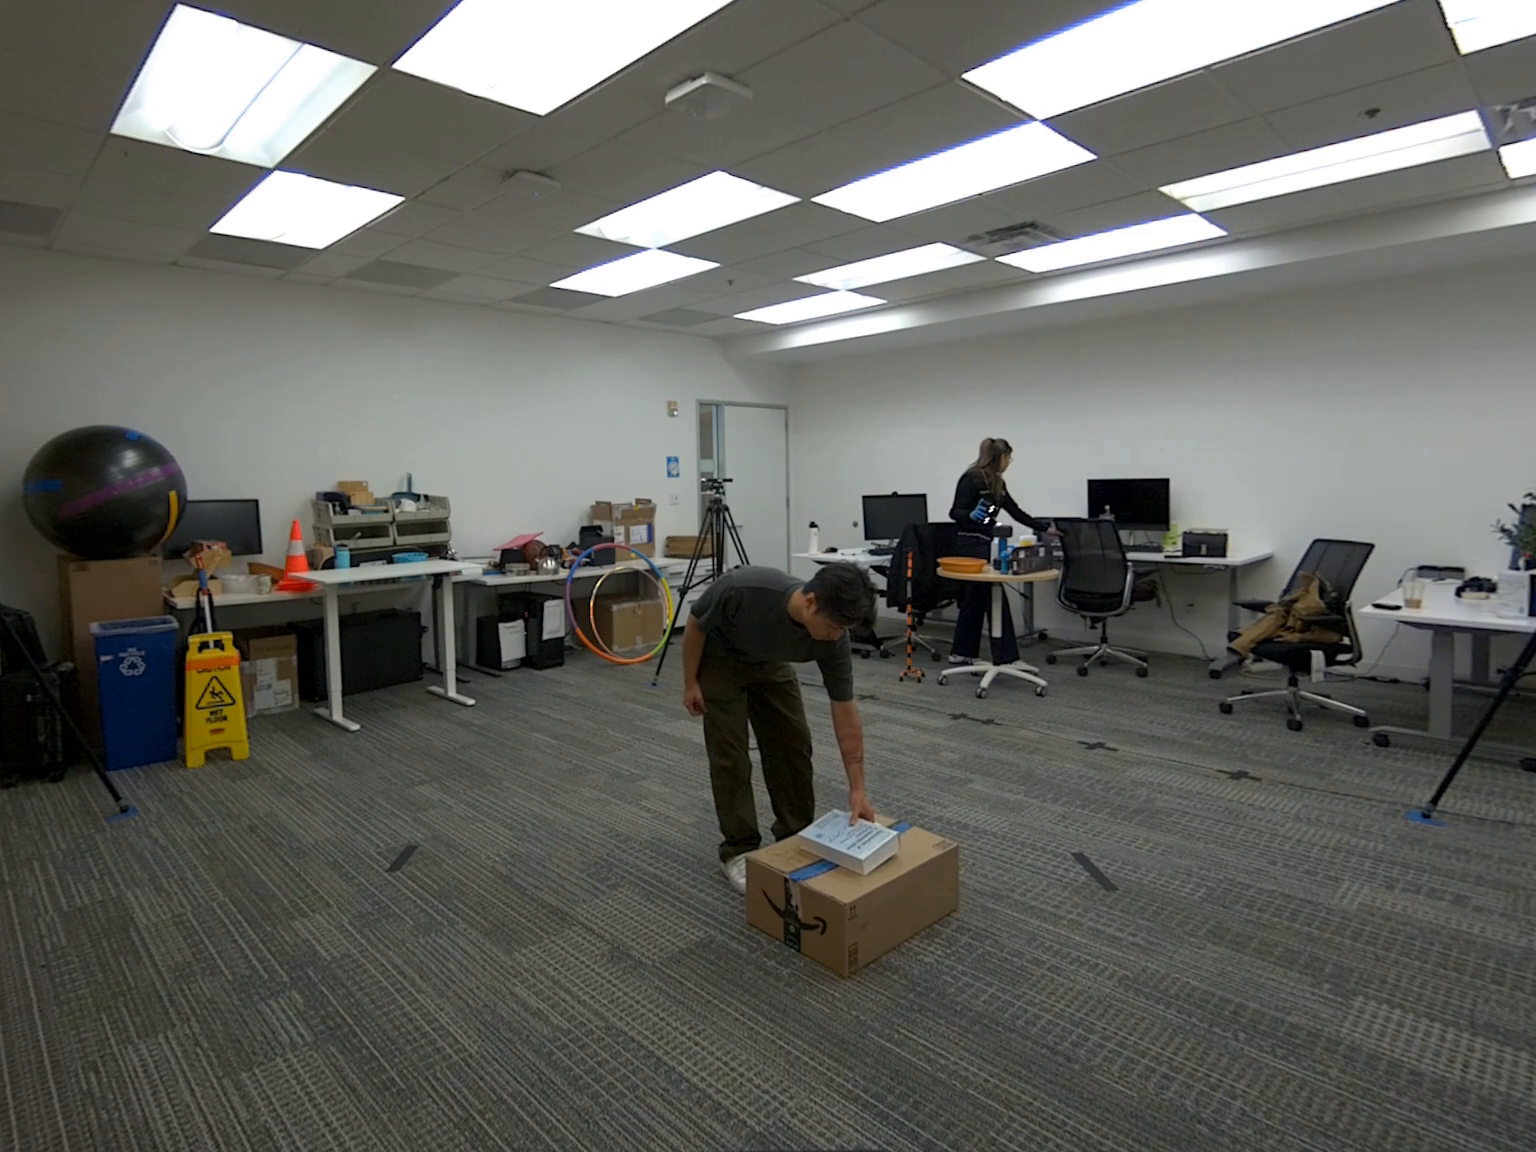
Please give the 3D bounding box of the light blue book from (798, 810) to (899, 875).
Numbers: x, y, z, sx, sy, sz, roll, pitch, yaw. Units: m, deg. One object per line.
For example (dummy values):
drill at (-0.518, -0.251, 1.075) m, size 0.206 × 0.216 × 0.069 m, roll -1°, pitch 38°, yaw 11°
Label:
light blue book at (0.250, 0.834, 2.692) m, size 0.188 × 0.058 × 0.269 m, roll -20°, pitch 18°, yaw -42°
